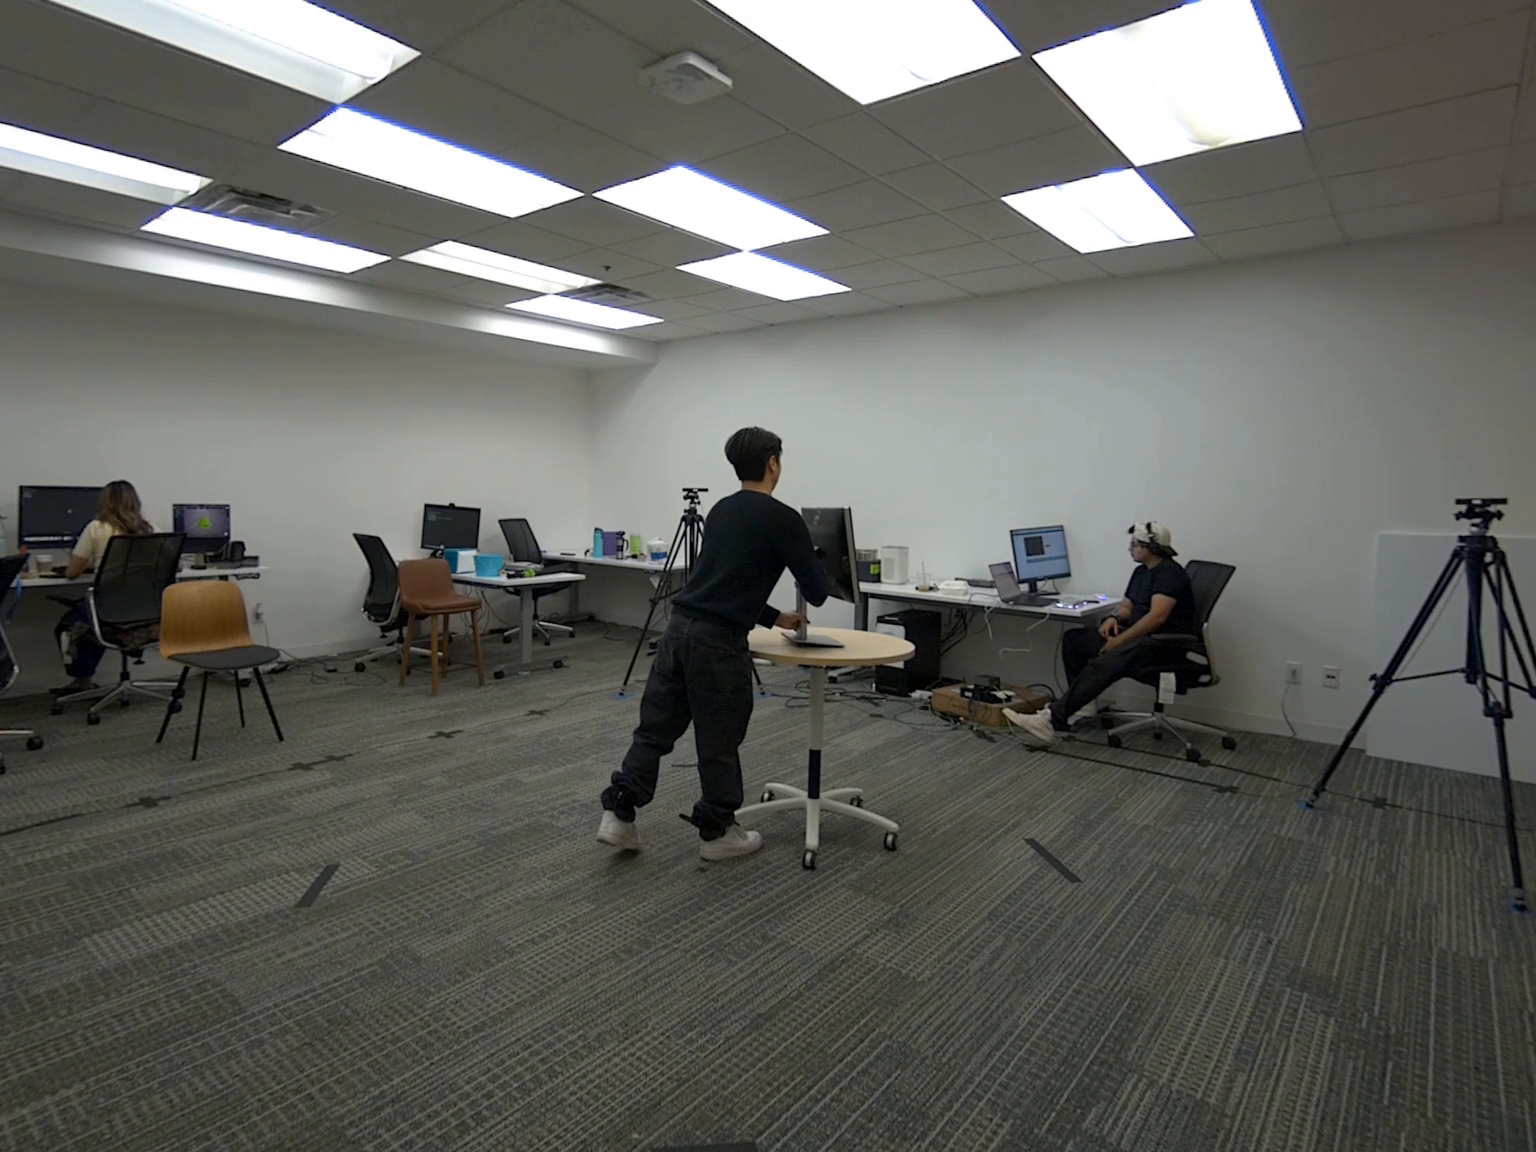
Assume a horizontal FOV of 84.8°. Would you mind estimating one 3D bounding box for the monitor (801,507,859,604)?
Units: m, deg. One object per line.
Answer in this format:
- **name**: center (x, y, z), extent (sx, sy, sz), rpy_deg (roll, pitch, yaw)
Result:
- **monitor**: center (0.195, -0.007, 3.400), extent (0.172, 0.516, 0.539), rpy_deg (8, 1, -15)
